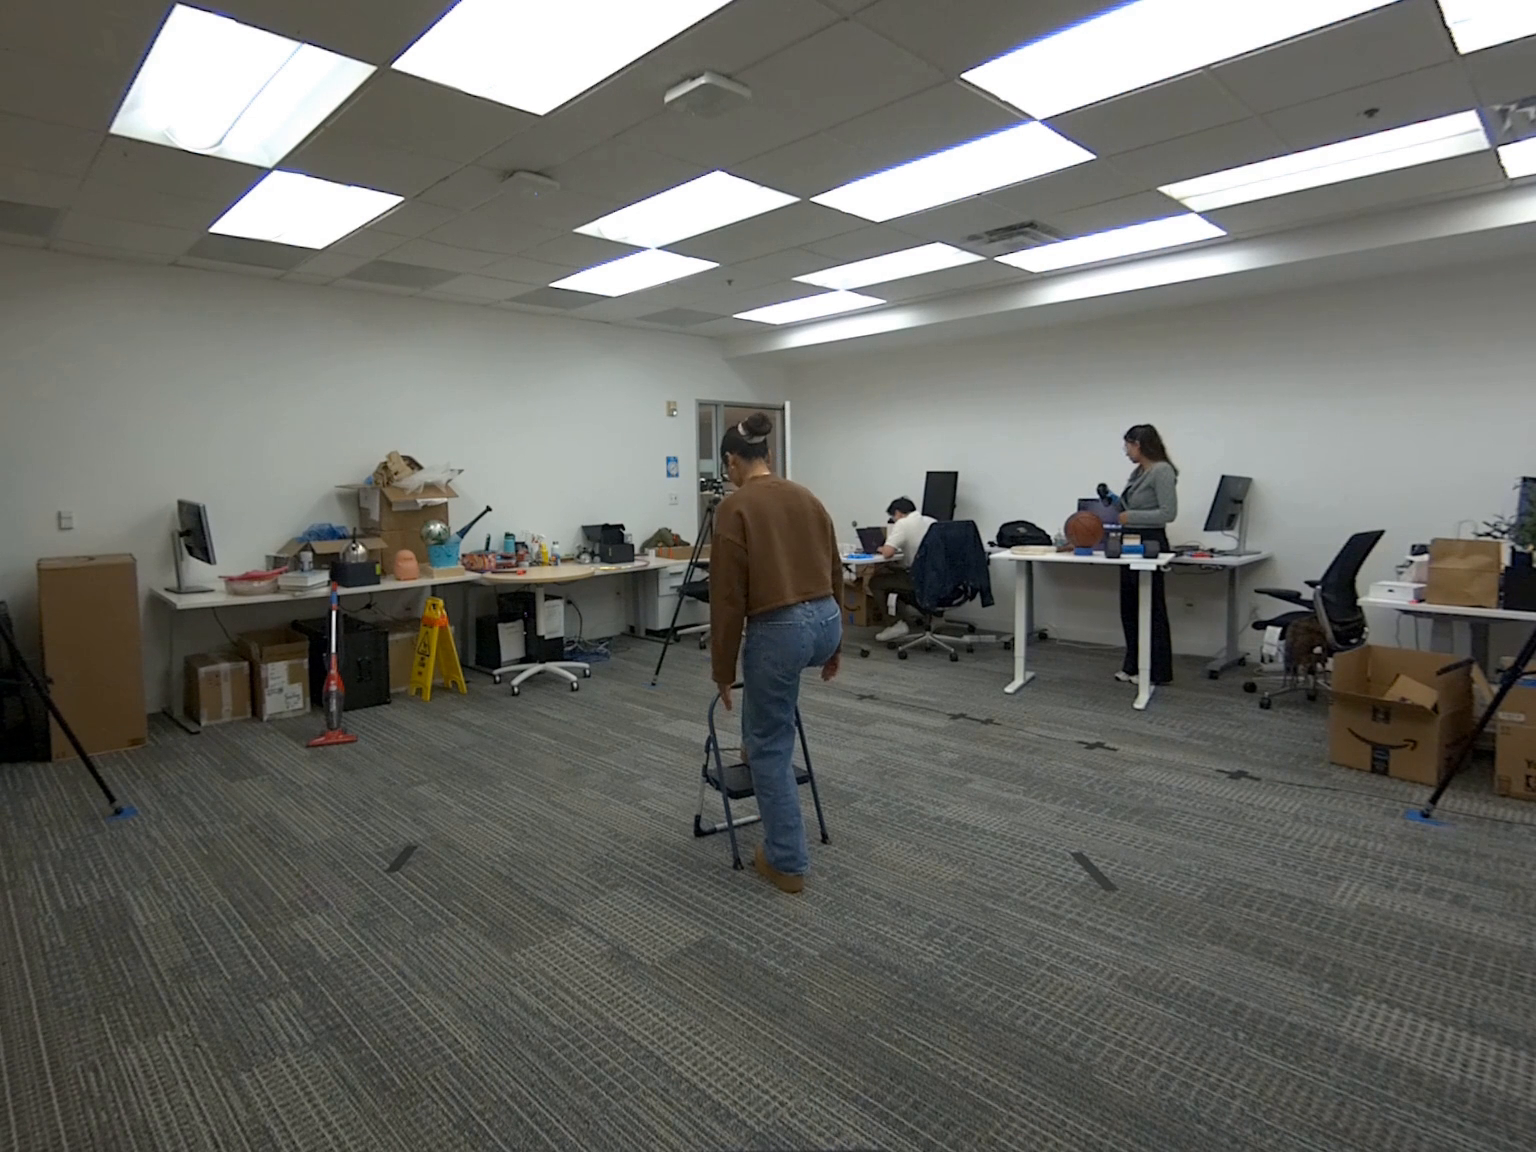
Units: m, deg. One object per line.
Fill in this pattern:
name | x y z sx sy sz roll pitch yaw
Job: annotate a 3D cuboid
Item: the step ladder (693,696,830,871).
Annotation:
step ladder | -0.030 0.720 3.291 0.420 0.604 0.359 -4 5 -33
